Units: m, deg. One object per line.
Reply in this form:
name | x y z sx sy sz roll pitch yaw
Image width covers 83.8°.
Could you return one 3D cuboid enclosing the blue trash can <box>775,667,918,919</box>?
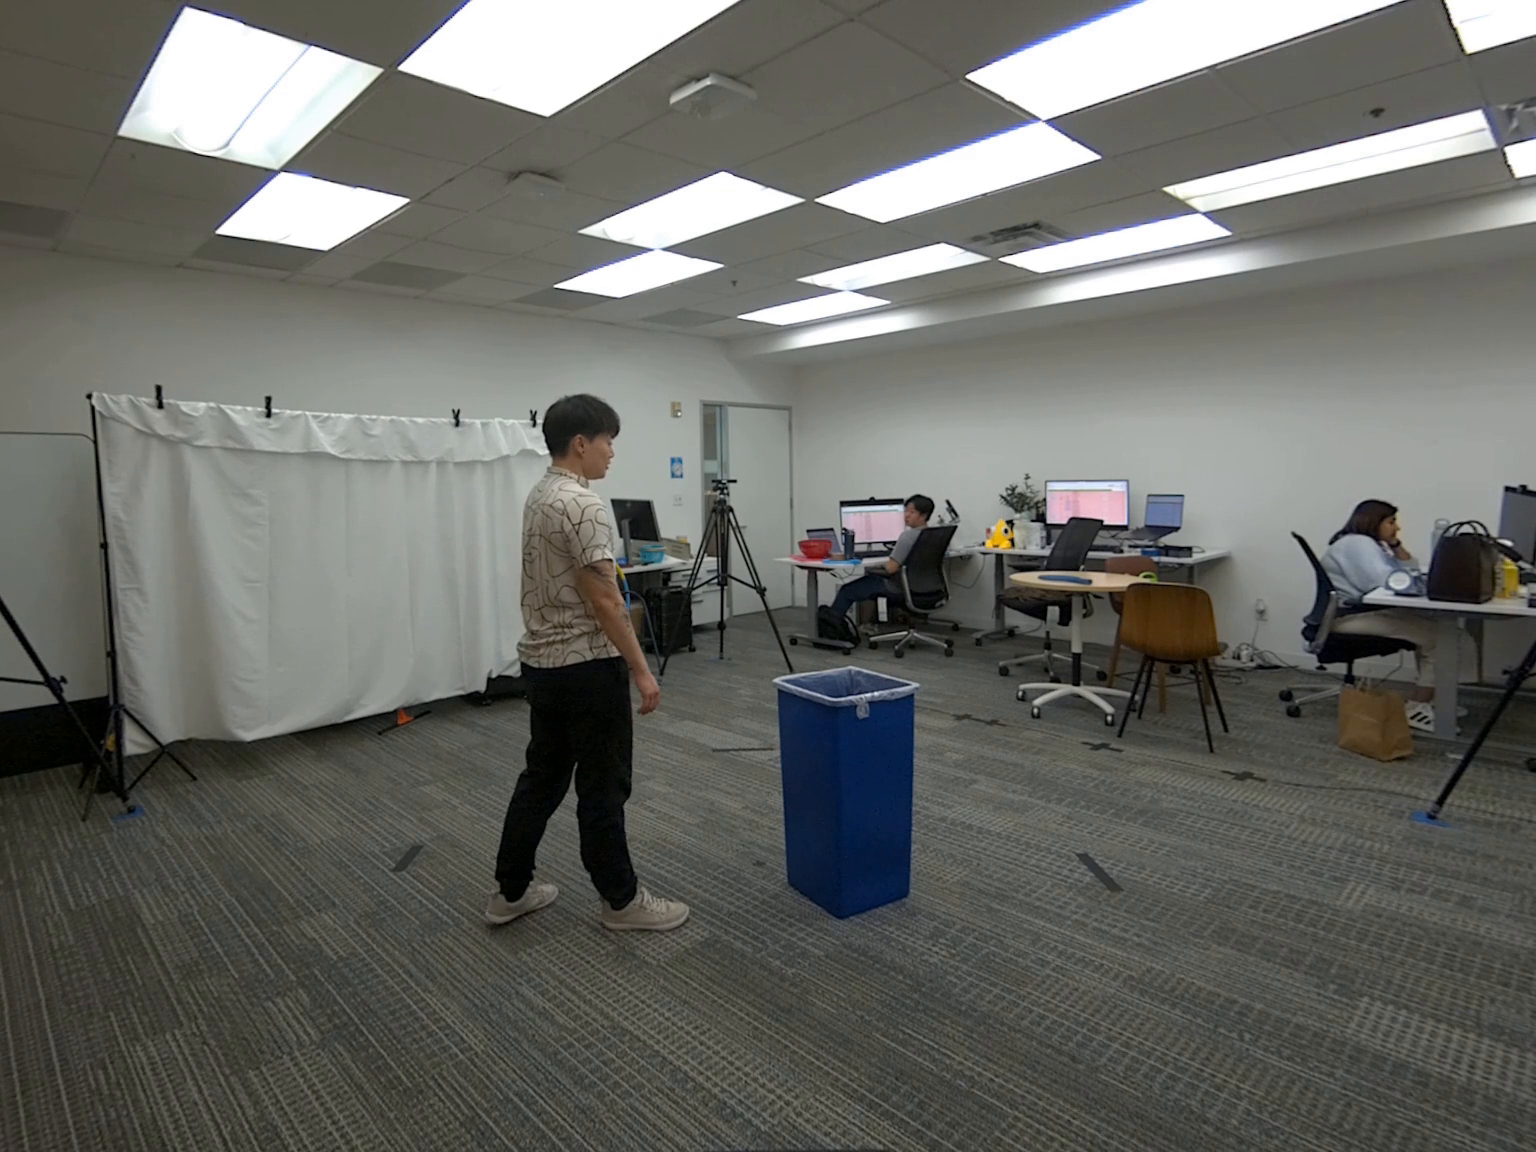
blue trash can | 0.264 0.711 2.892 0.369 0.711 0.384 -3 4 -32
